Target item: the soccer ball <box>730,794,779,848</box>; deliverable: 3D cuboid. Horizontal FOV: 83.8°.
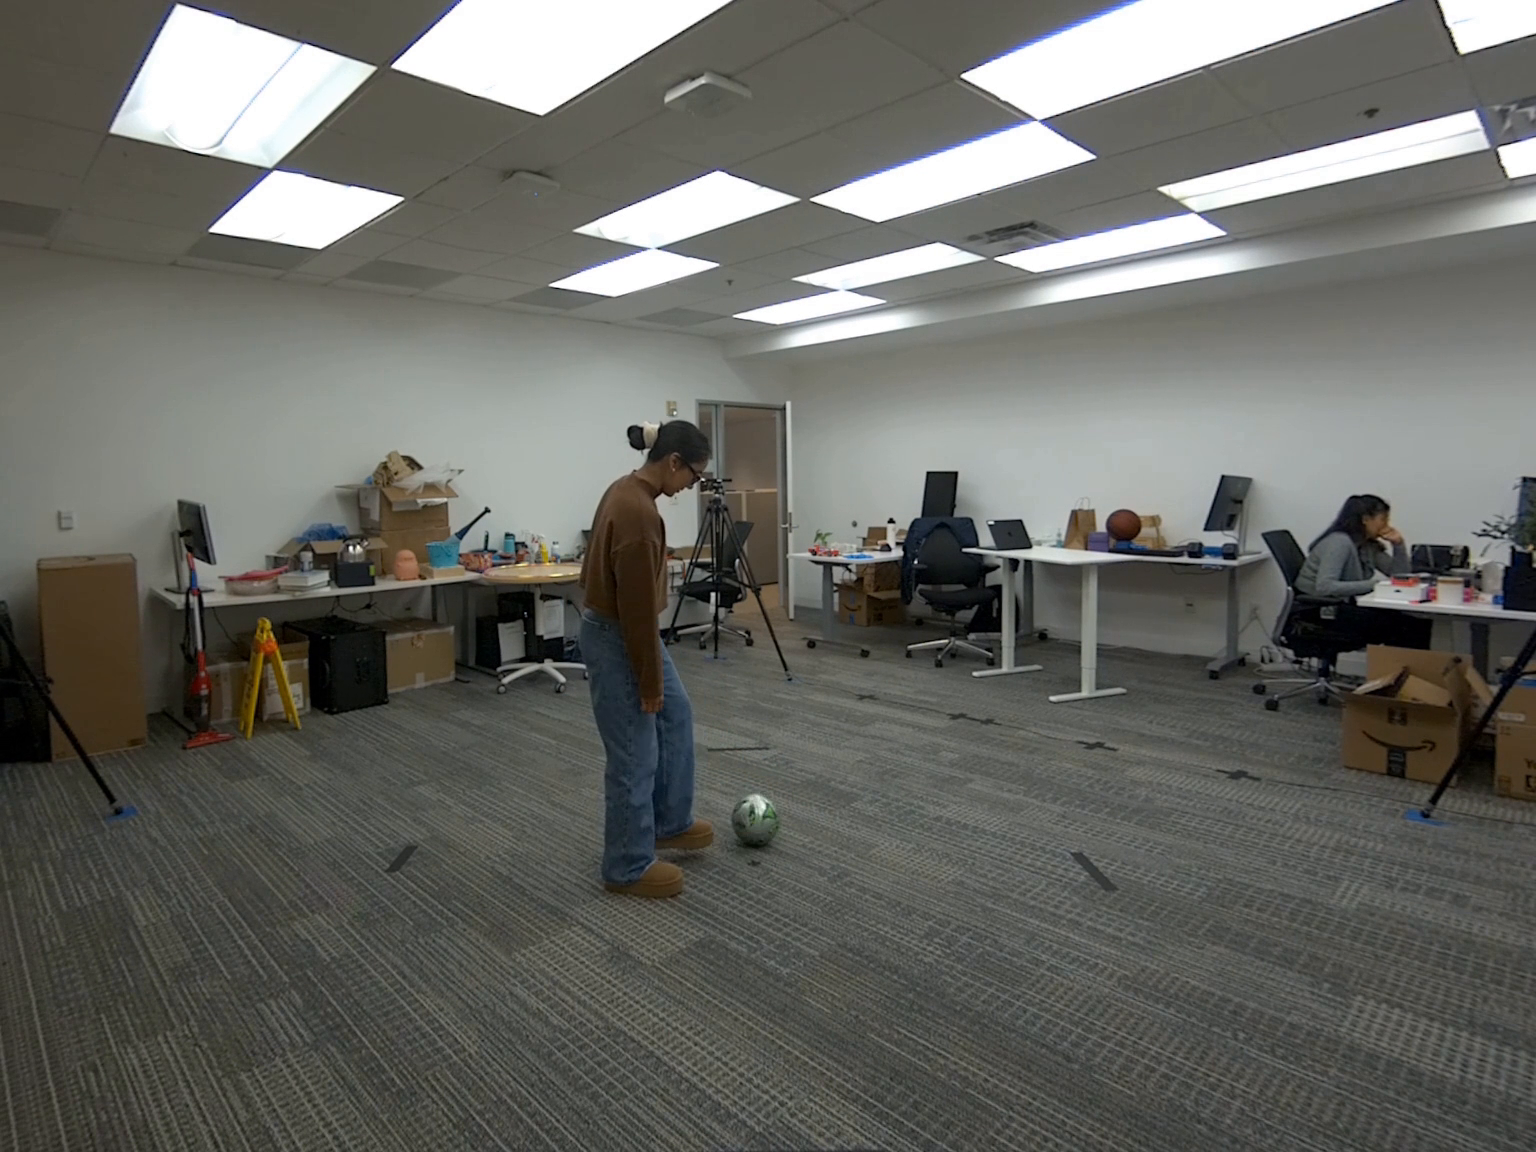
[{"bbox_3d":[-0.044,0.933,3.274,0.187,0.187,0.188,-1,5,-2],"label":"soccer ball"}]
